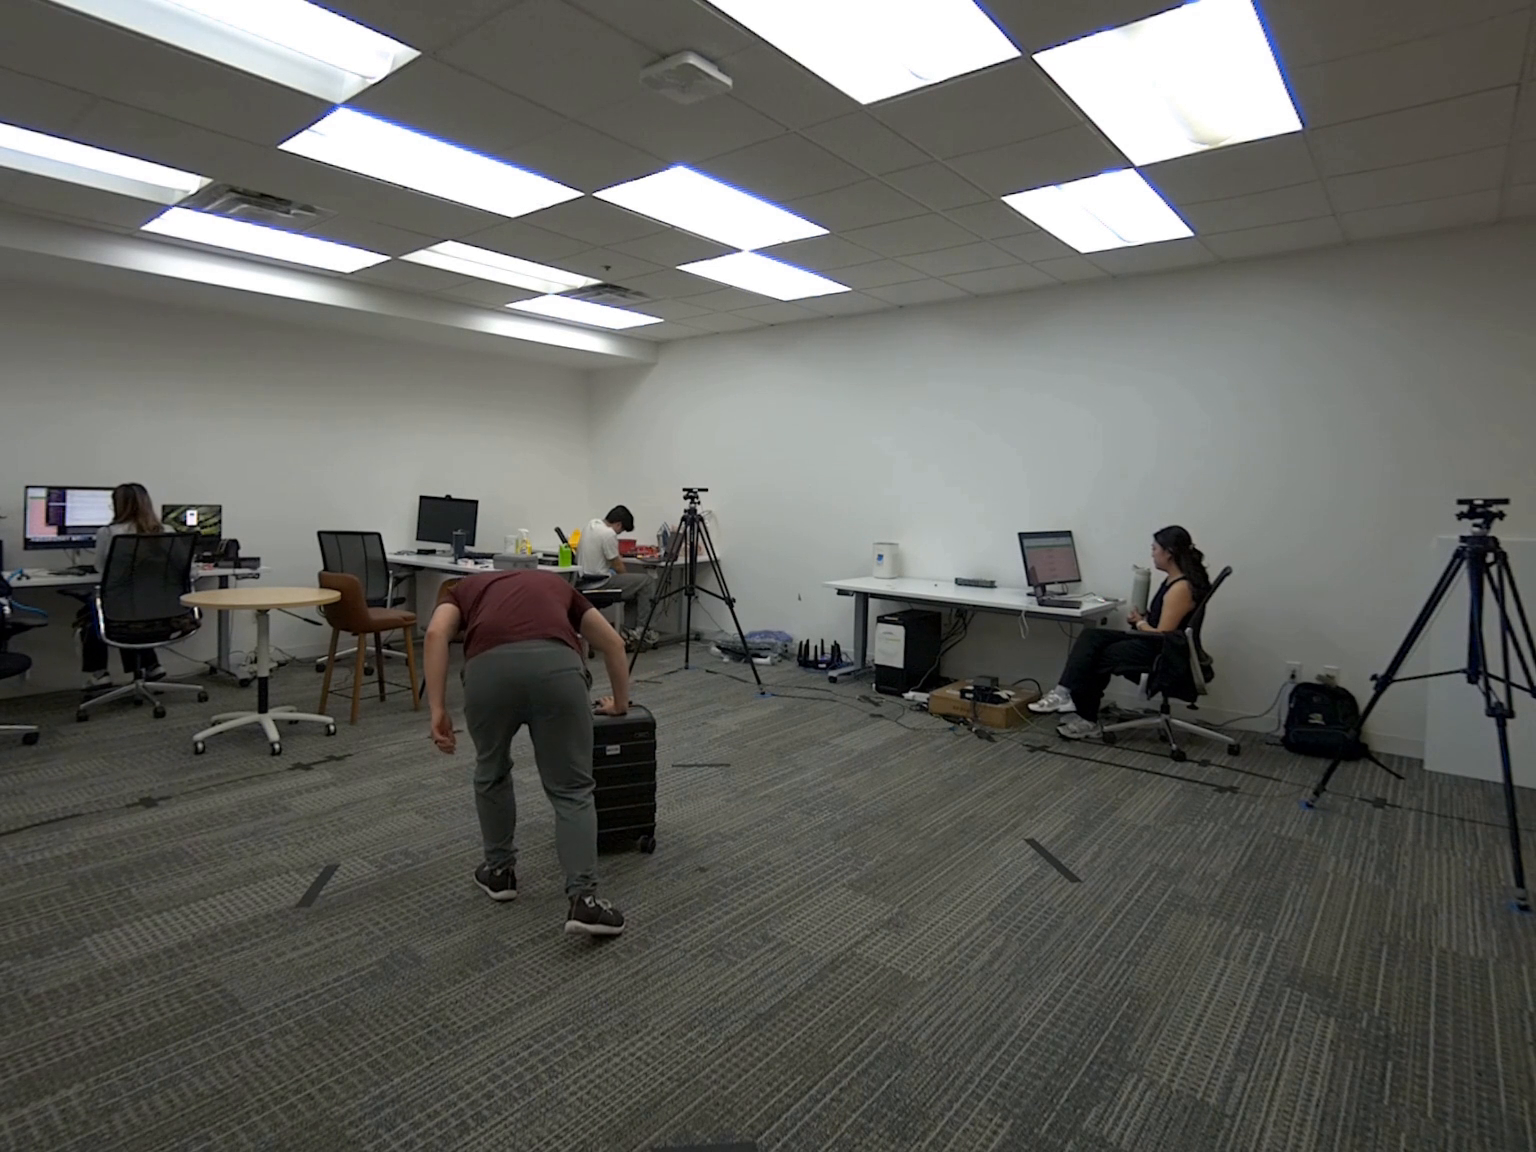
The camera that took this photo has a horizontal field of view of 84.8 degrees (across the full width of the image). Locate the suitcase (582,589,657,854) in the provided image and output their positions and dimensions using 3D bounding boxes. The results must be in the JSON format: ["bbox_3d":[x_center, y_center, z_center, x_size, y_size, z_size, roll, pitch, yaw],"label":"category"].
[{"bbox_3d":[-0.625,0.572,3.295,0.376,0.974,0.263,-1,5,-20],"label":"suitcase"}]
